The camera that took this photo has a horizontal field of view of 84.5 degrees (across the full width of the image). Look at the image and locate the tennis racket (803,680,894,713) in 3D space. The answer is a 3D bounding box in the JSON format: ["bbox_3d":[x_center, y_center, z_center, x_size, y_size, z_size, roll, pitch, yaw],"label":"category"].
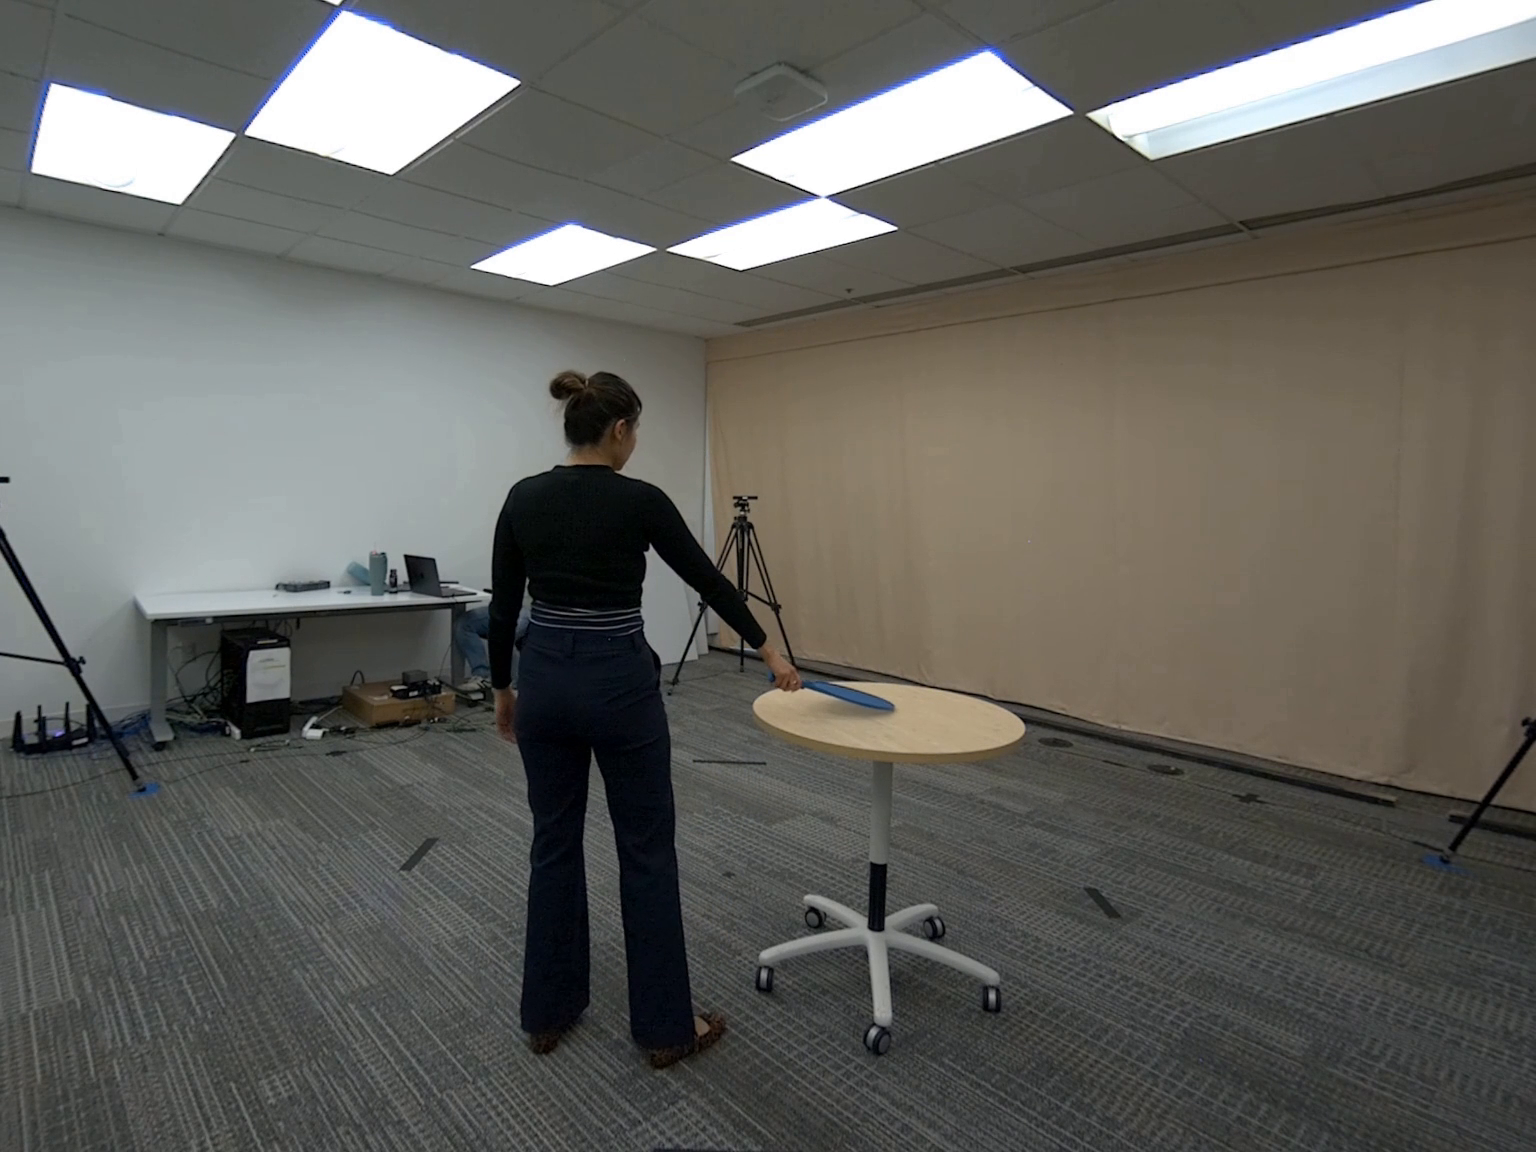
[{"bbox_3d":[0.186,0.331,2.420,0.422,0.032,0.219,16,1,-28],"label":"tennis racket"}]
